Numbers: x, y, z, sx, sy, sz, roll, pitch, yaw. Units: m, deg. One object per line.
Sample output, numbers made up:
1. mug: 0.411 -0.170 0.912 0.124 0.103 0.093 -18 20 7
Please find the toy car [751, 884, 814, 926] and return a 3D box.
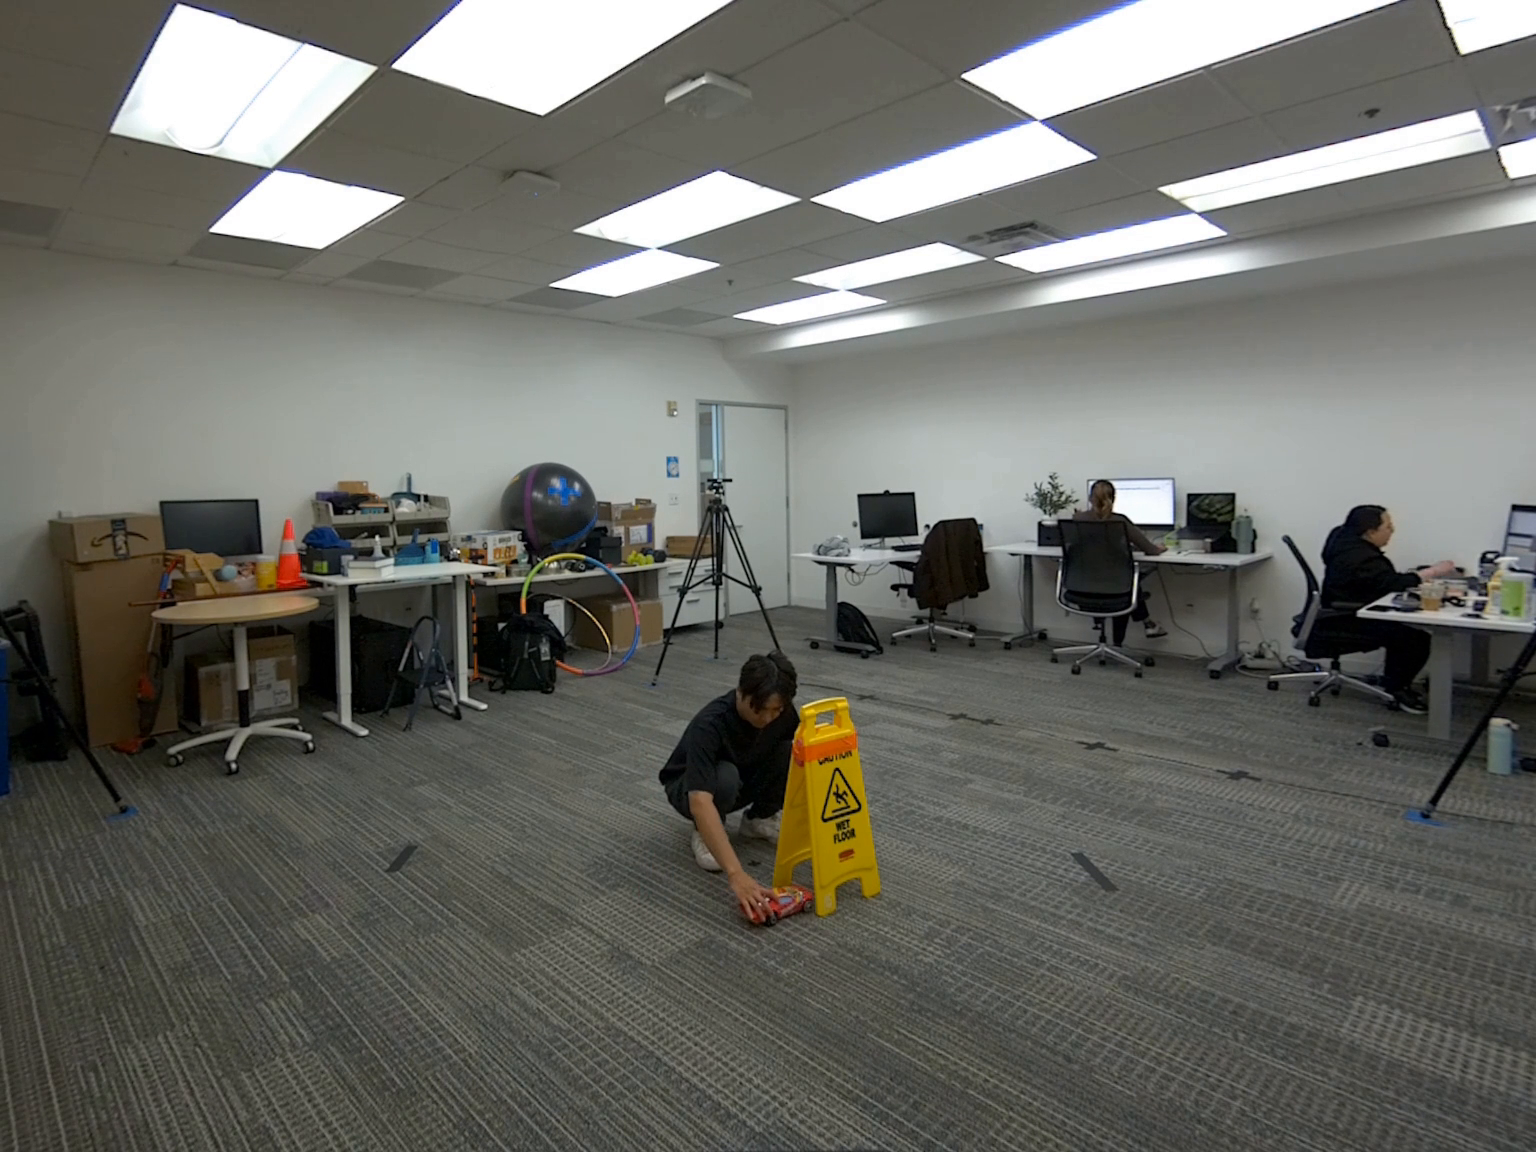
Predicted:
1. toy car: 0.021 1.064 2.742 0.247 0.083 0.134 7 0 -34
